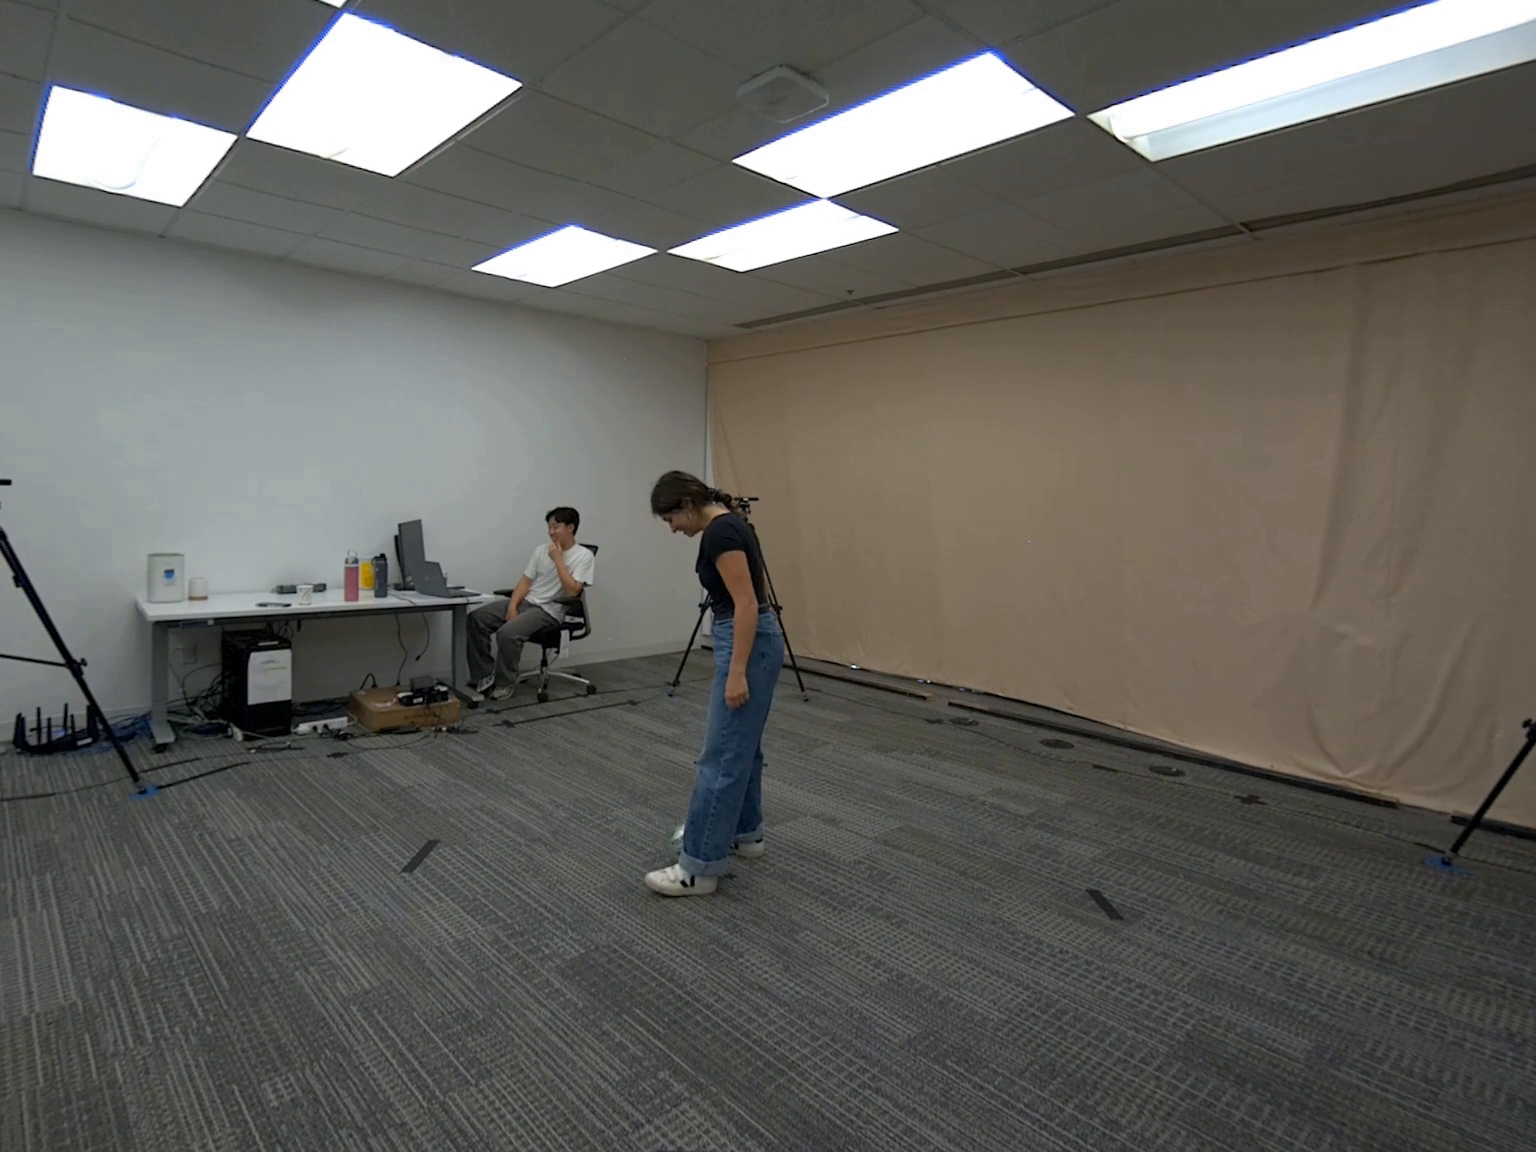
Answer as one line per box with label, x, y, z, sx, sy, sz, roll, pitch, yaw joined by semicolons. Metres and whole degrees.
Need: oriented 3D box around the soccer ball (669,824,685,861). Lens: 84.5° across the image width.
soccer ball;-0.290;1.021;3.124;0.187;0.187;0.188;1;4;-1
